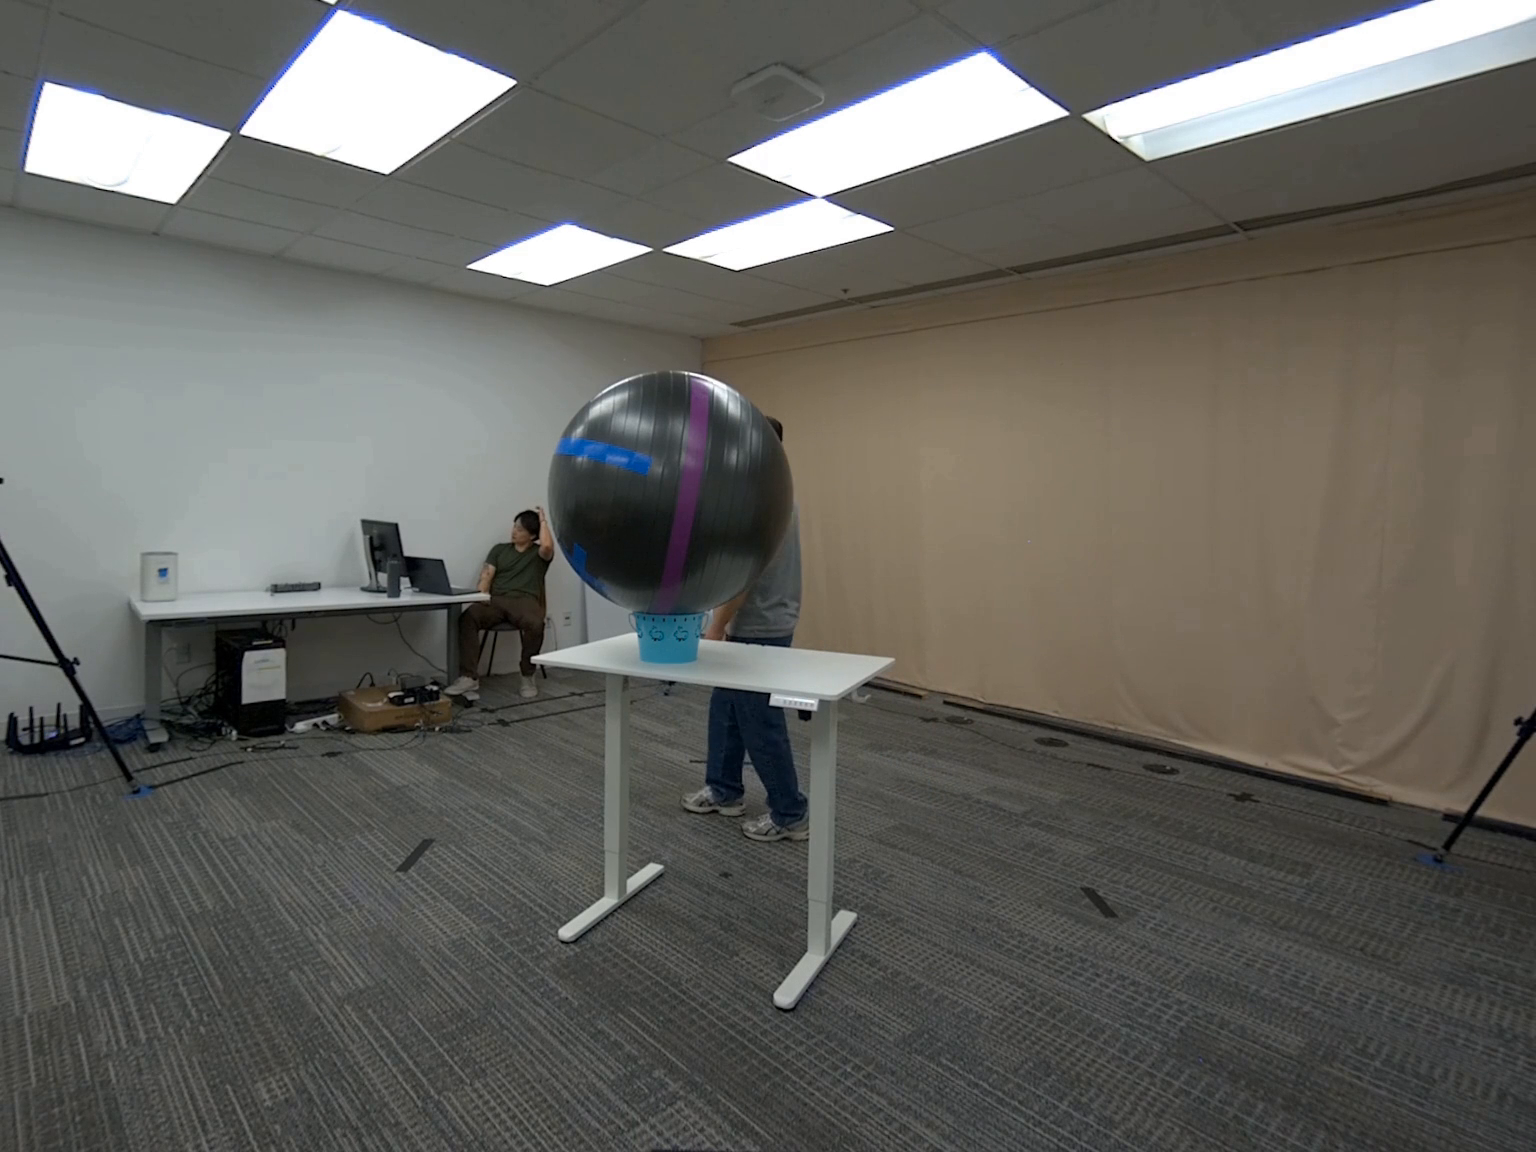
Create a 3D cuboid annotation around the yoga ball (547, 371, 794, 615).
[{"bbox_3d":[-0.297,-0.251,2.630,0.757,0.756,0.761,1,4,-1],"label":"yoga ball"}]
